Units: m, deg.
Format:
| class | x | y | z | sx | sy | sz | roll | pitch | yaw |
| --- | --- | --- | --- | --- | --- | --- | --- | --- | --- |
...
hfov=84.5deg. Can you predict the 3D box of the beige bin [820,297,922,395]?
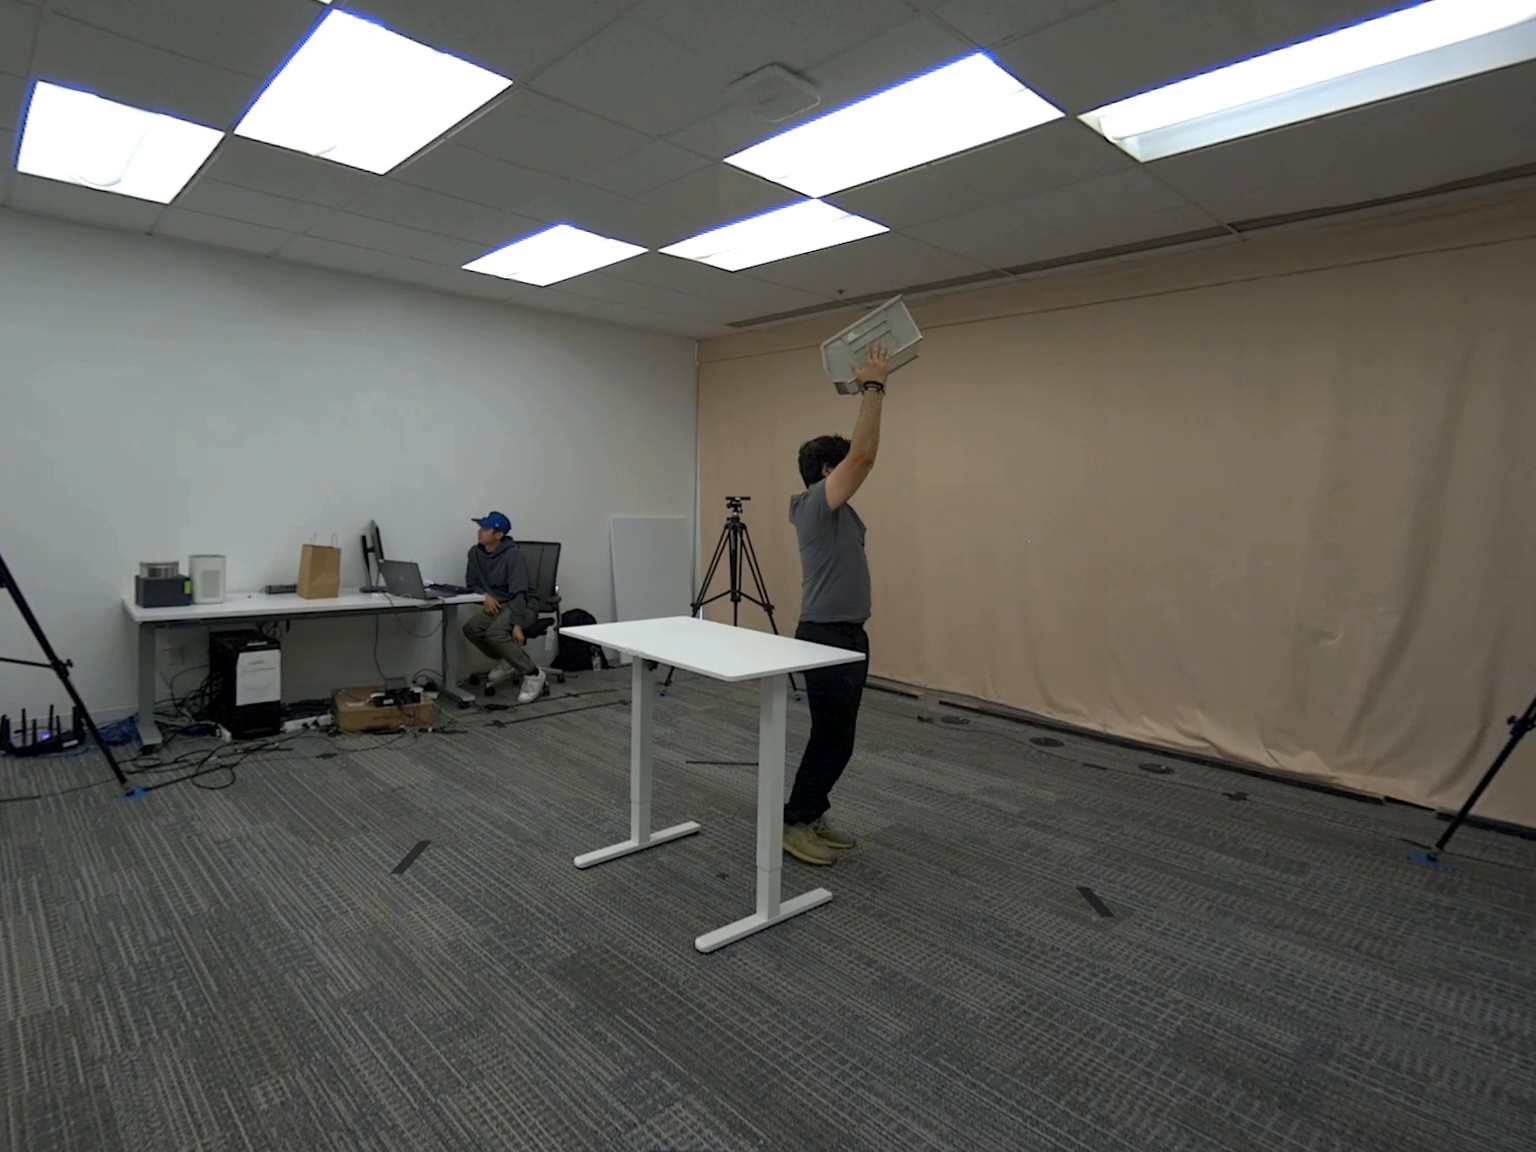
| class | x | y | z | sx | sy | sz | roll | pitch | yaw |
| --- | --- | --- | --- | --- | --- | --- | --- | --- | --- |
| beige bin | 0.400 | -0.881 | 3.317 | 0.378 | 0.189 | 0.420 | -30 | 0 | 10 |
